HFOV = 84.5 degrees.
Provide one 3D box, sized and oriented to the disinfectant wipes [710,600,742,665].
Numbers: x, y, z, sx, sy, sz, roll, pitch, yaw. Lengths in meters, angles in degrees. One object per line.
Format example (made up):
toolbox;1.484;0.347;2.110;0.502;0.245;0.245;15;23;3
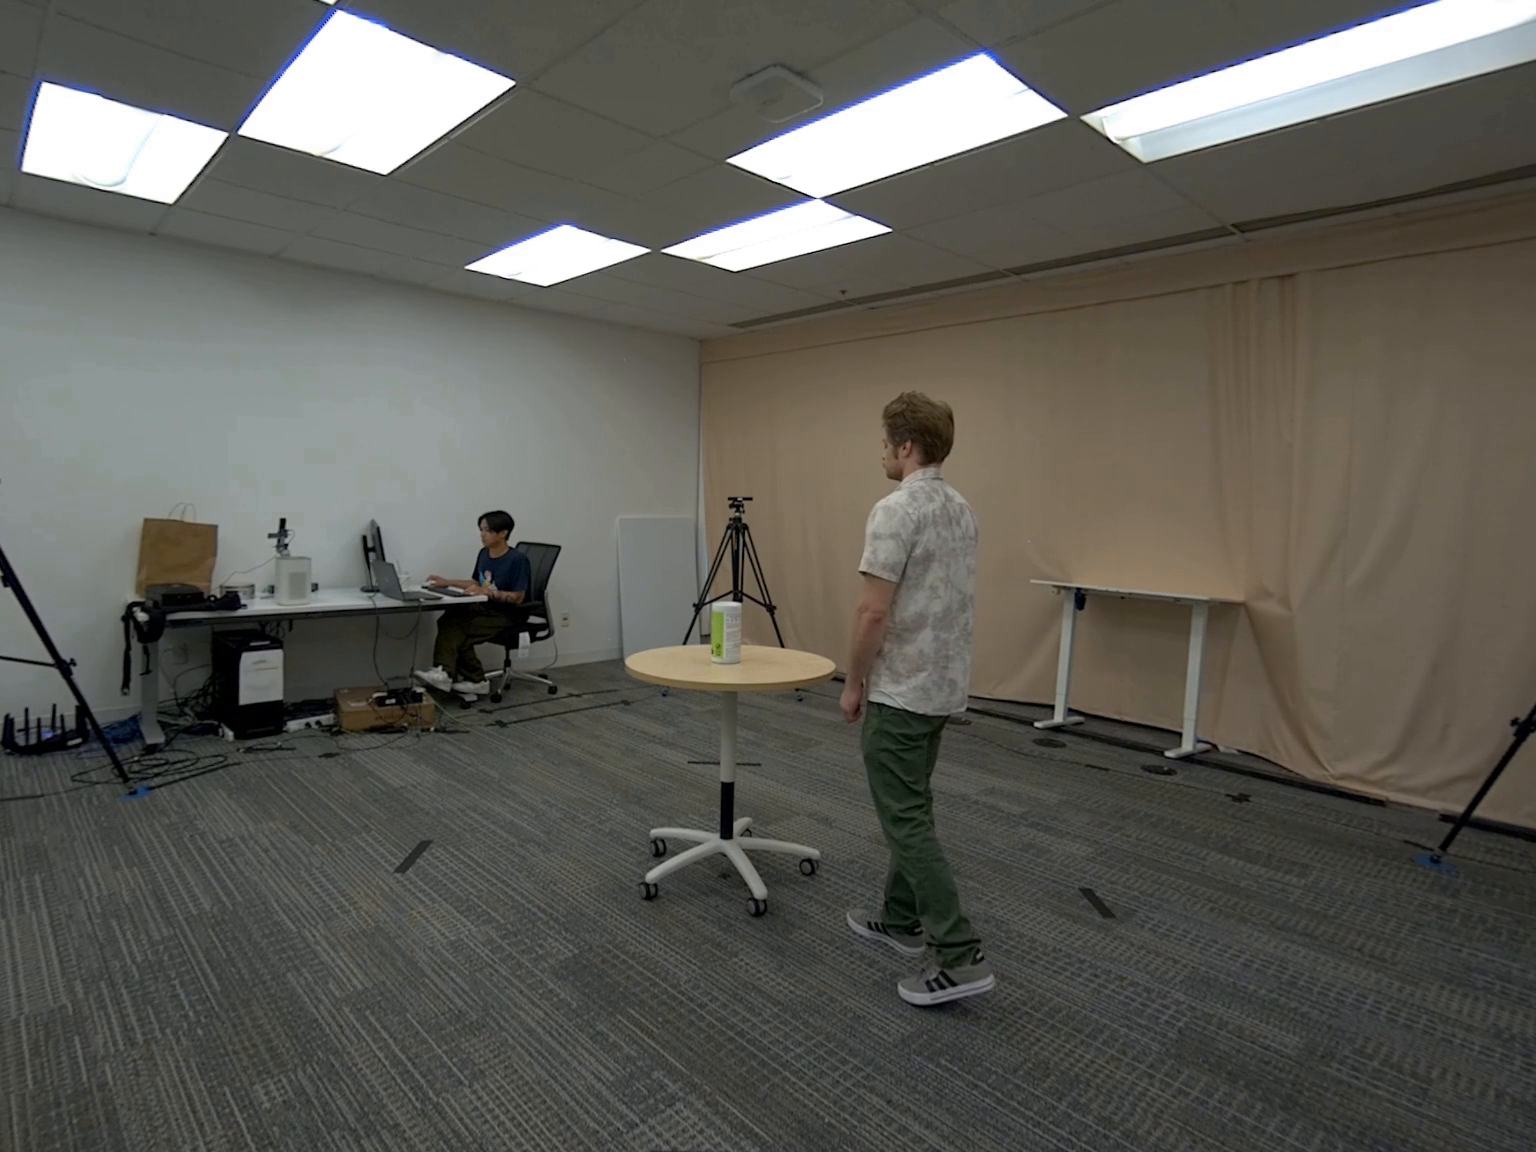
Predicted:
disinfectant wipes;-0.154;0.208;3.075;0.118;0.217;0.118;1;3;-1
